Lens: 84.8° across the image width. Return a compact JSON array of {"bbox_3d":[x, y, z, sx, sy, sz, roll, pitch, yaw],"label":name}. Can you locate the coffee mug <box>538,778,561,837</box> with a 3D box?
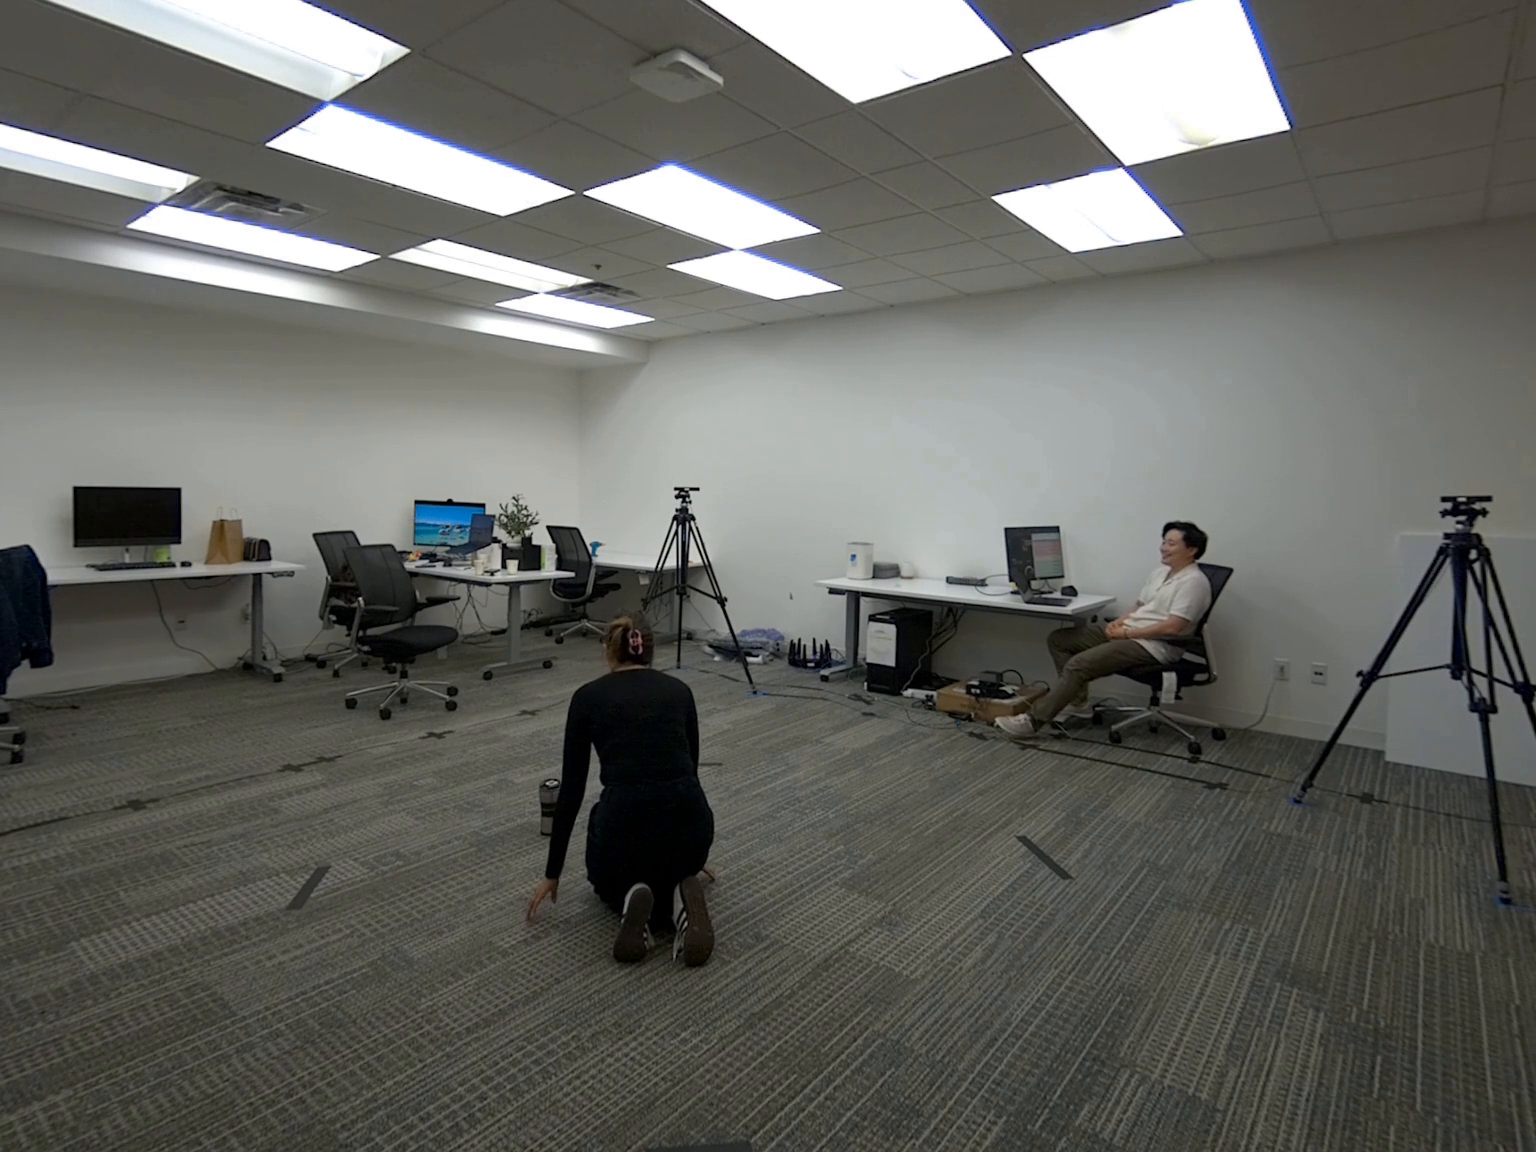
[{"bbox_3d":[-0.886,0.930,3.429,0.090,0.202,0.120,-1,5,19],"label":"coffee mug"}]
